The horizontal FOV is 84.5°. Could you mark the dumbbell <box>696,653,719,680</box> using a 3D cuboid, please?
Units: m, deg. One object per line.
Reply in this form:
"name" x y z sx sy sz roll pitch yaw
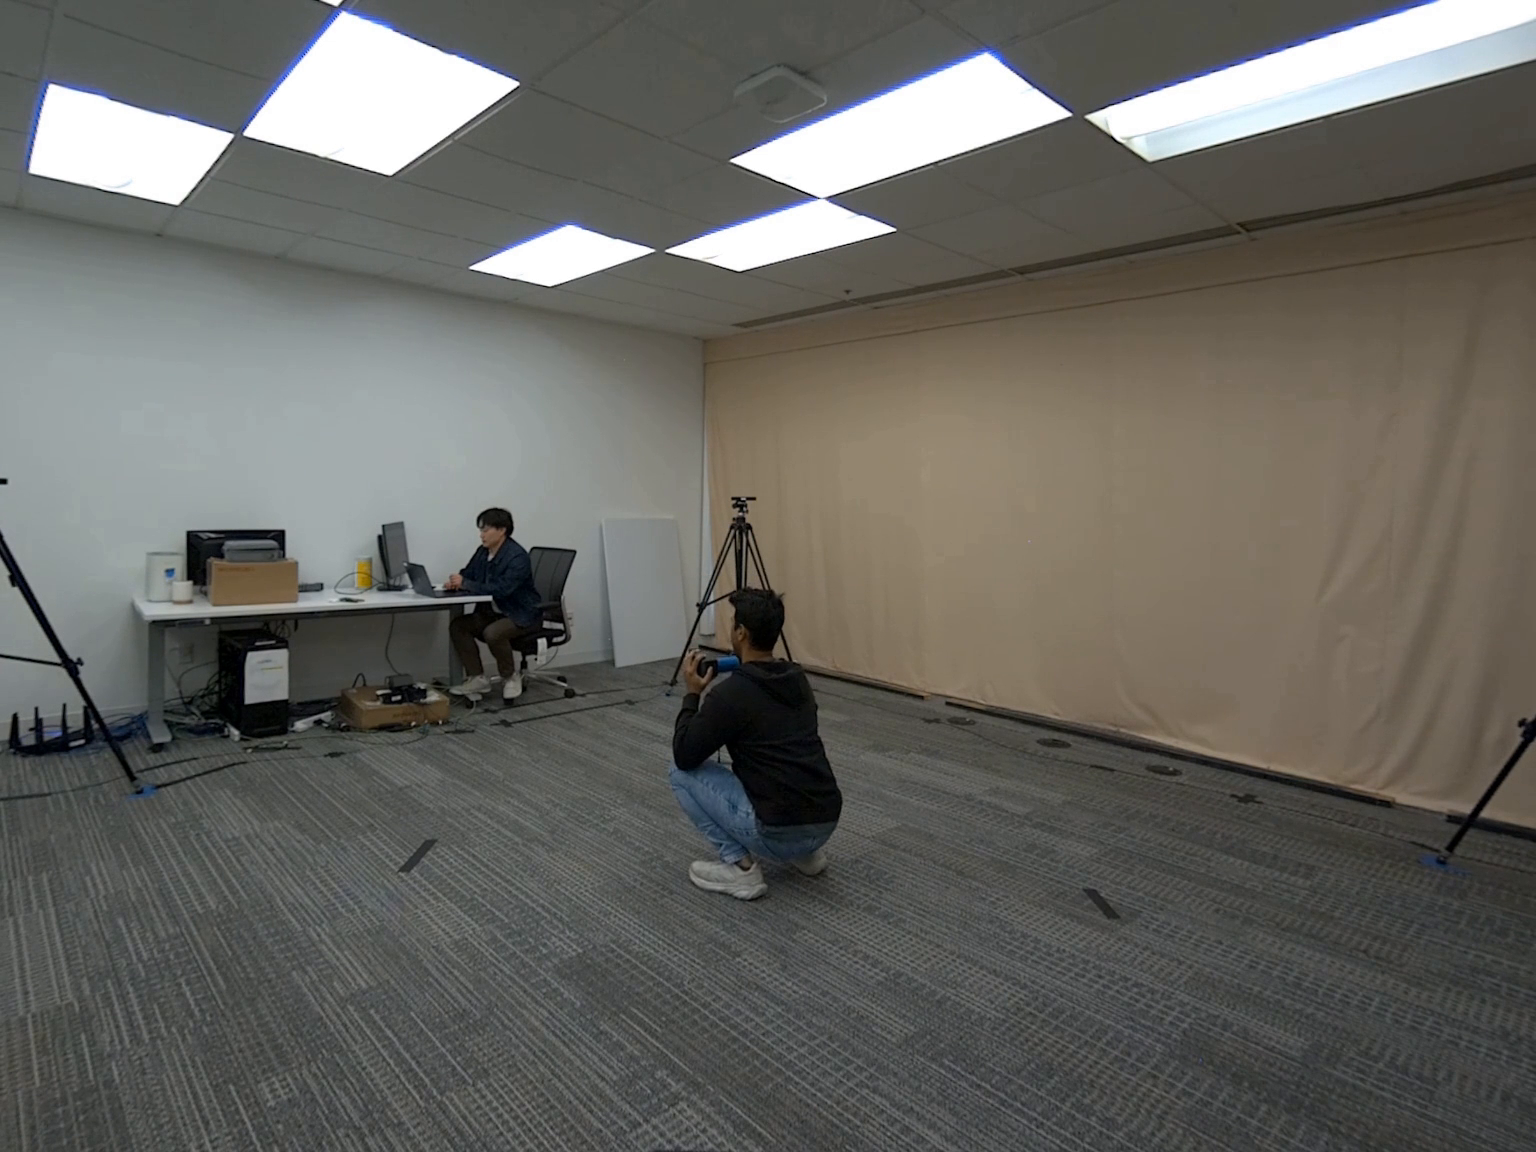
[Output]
"dumbbell" -0.166 0.337 3.284 0.287 0.123 0.111 -2 2 -42
